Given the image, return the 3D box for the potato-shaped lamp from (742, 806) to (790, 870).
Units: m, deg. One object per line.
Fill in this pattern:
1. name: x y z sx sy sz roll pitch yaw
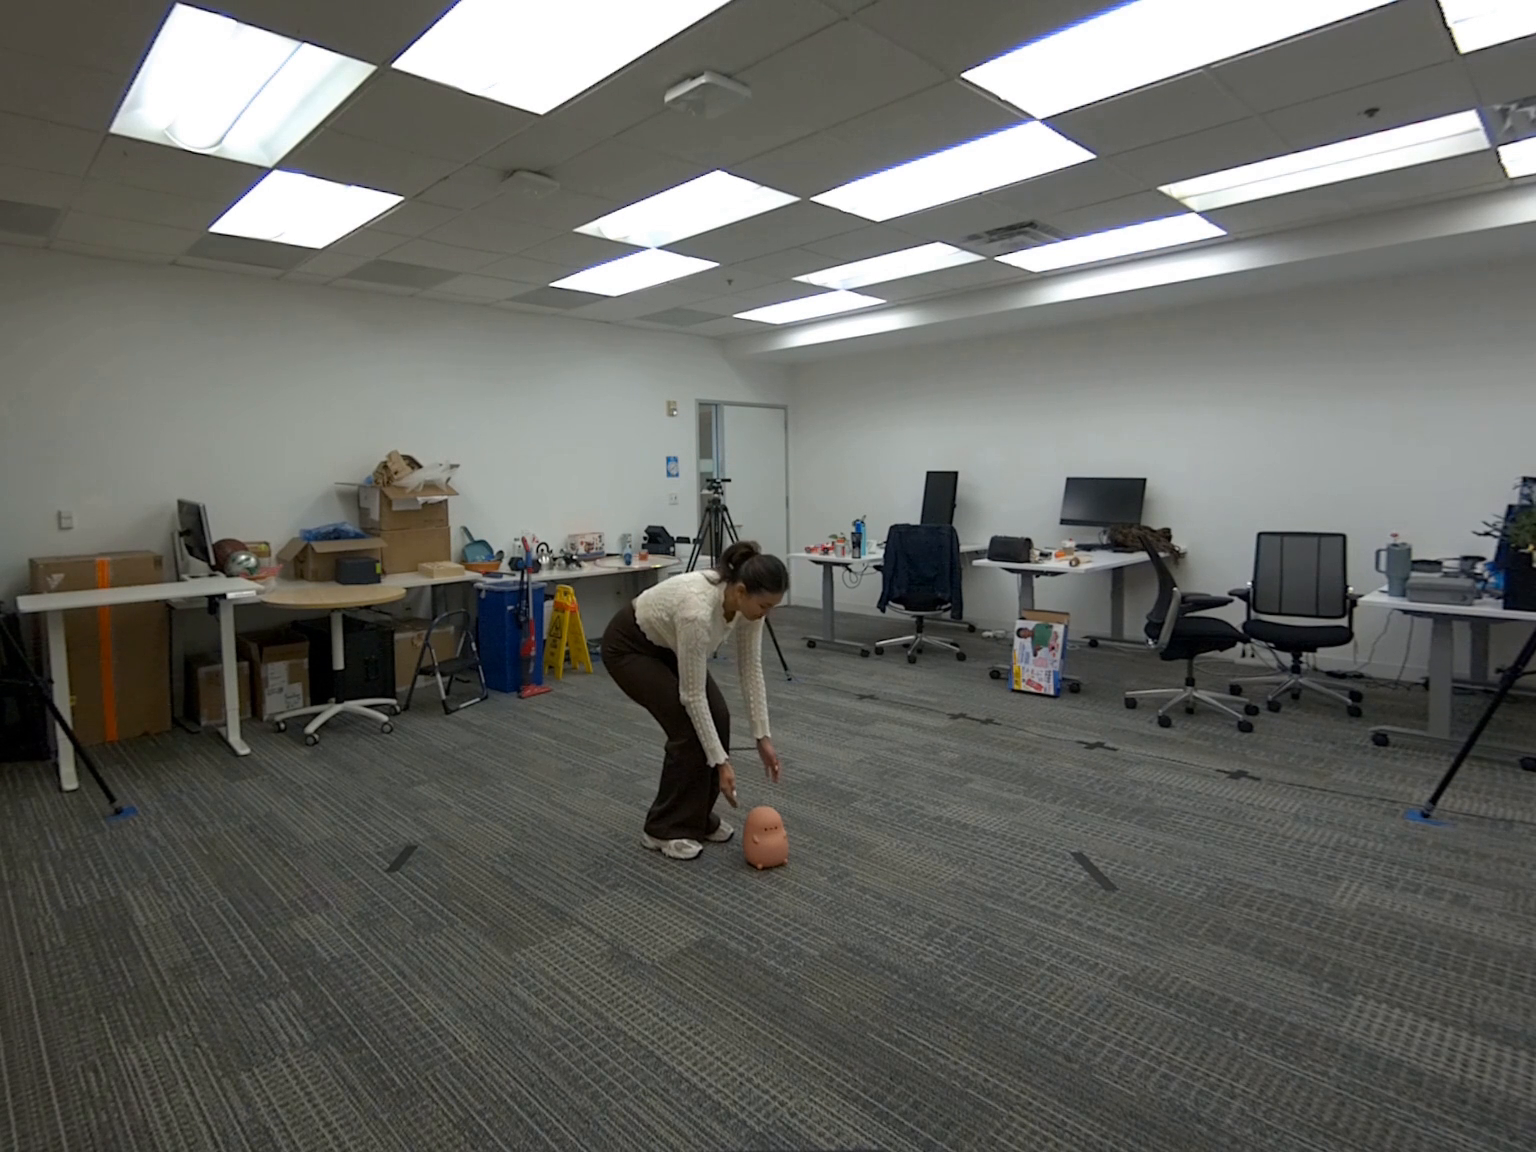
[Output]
1. potato-shaped lamp: -0.010 0.940 3.114 0.162 0.197 0.175 -3 5 -19
